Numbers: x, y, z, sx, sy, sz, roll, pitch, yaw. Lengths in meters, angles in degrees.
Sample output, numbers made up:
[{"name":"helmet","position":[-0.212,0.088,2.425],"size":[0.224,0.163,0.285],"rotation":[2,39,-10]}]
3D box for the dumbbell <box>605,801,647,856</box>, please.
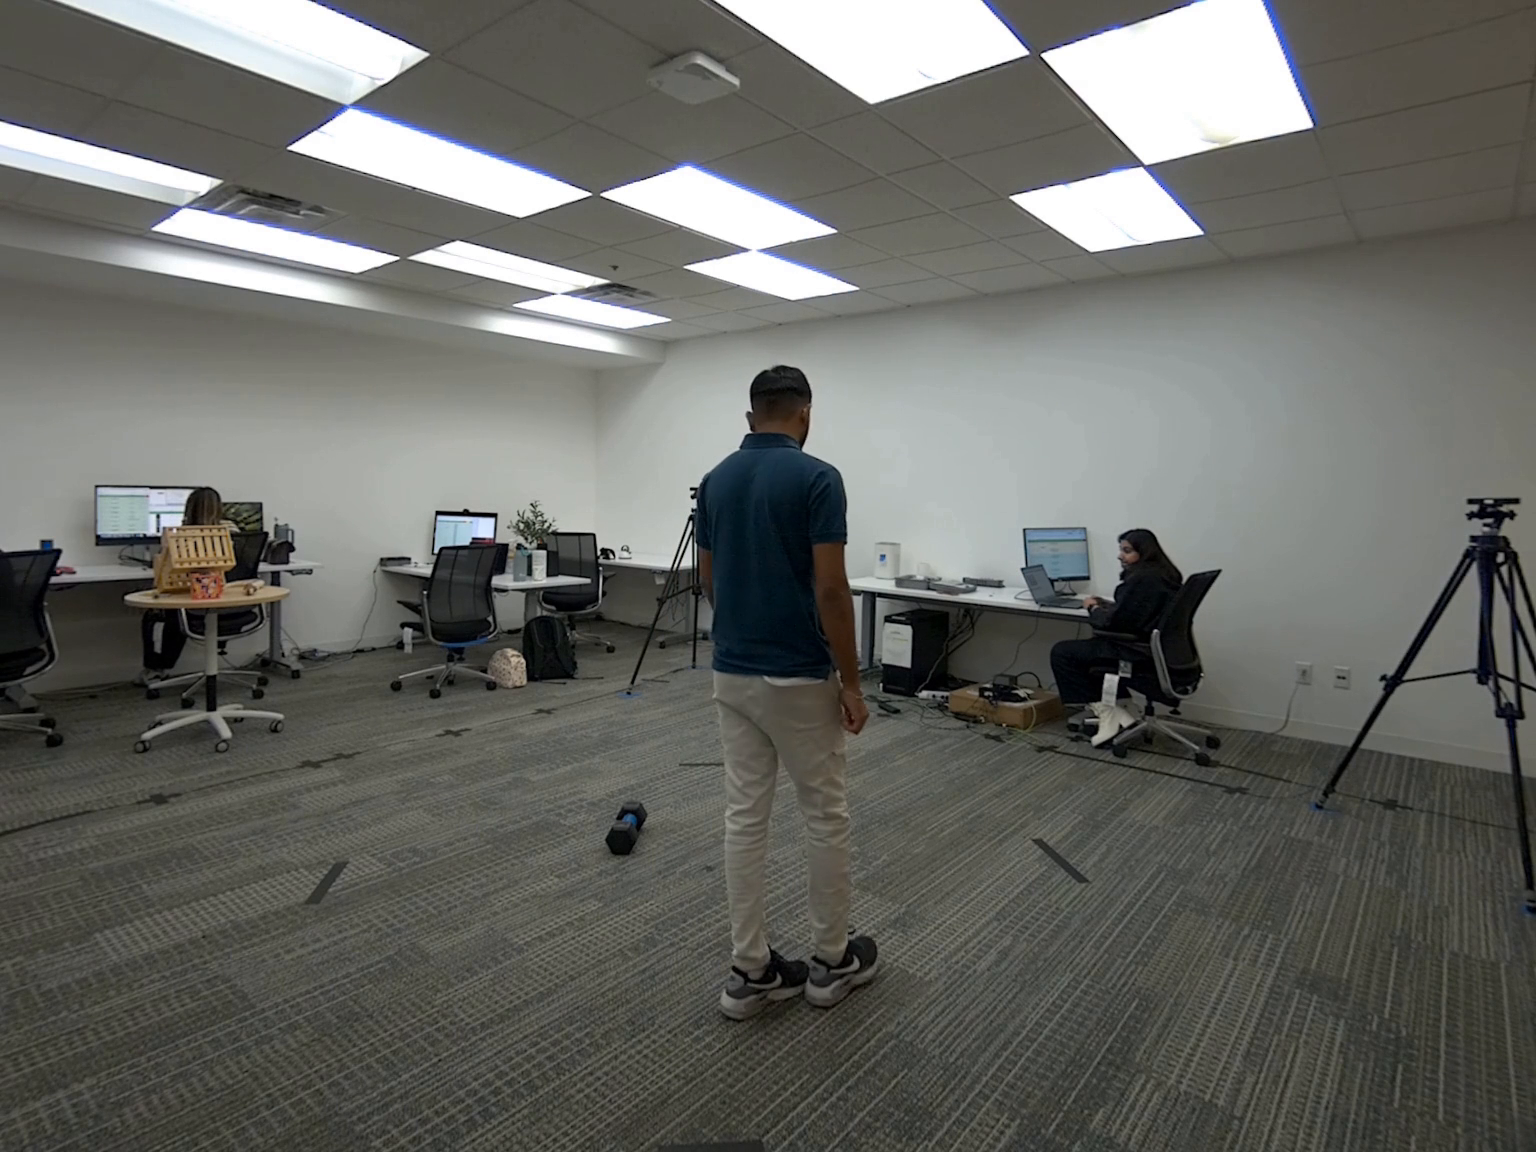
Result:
[{"name":"dumbbell","position":[-0.564,0.983,3.349],"size":[0.109,0.123,0.293],"rotation":[30,5,-1]}]
